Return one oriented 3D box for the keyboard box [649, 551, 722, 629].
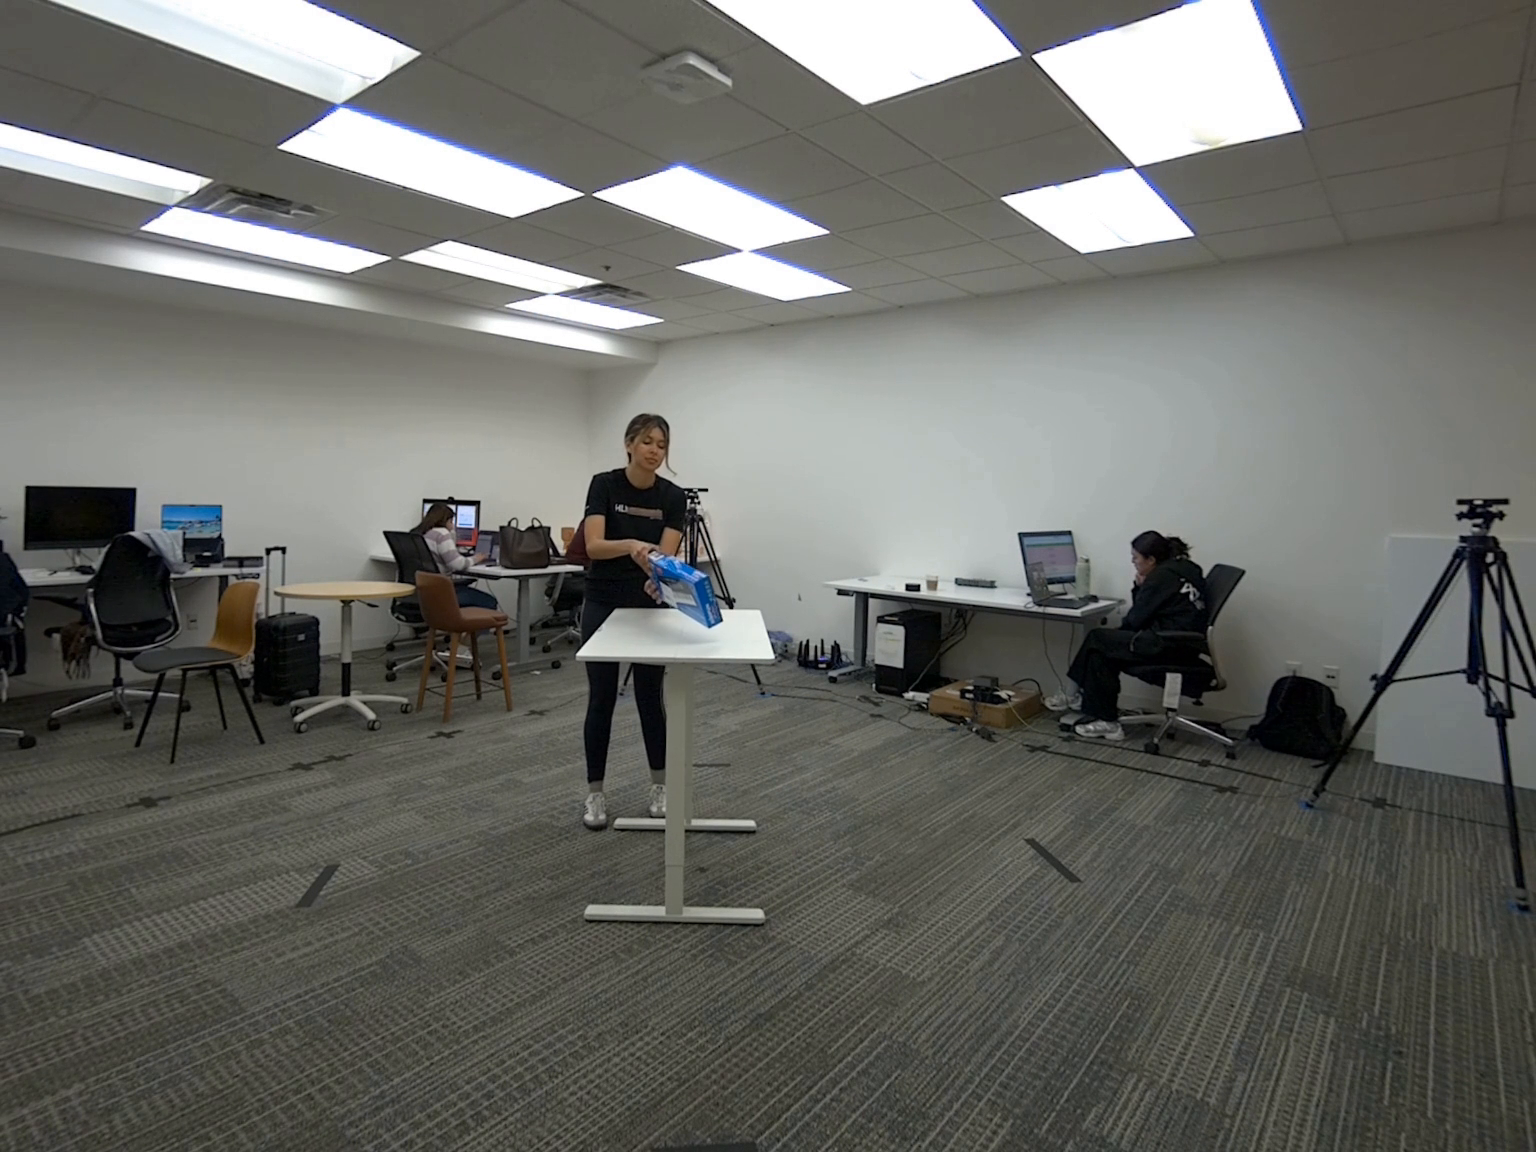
[{"bbox_3d":[-0.310,0.040,2.952,0.058,0.172,0.452,-25,23,-23],"label":"keyboard box"}]
